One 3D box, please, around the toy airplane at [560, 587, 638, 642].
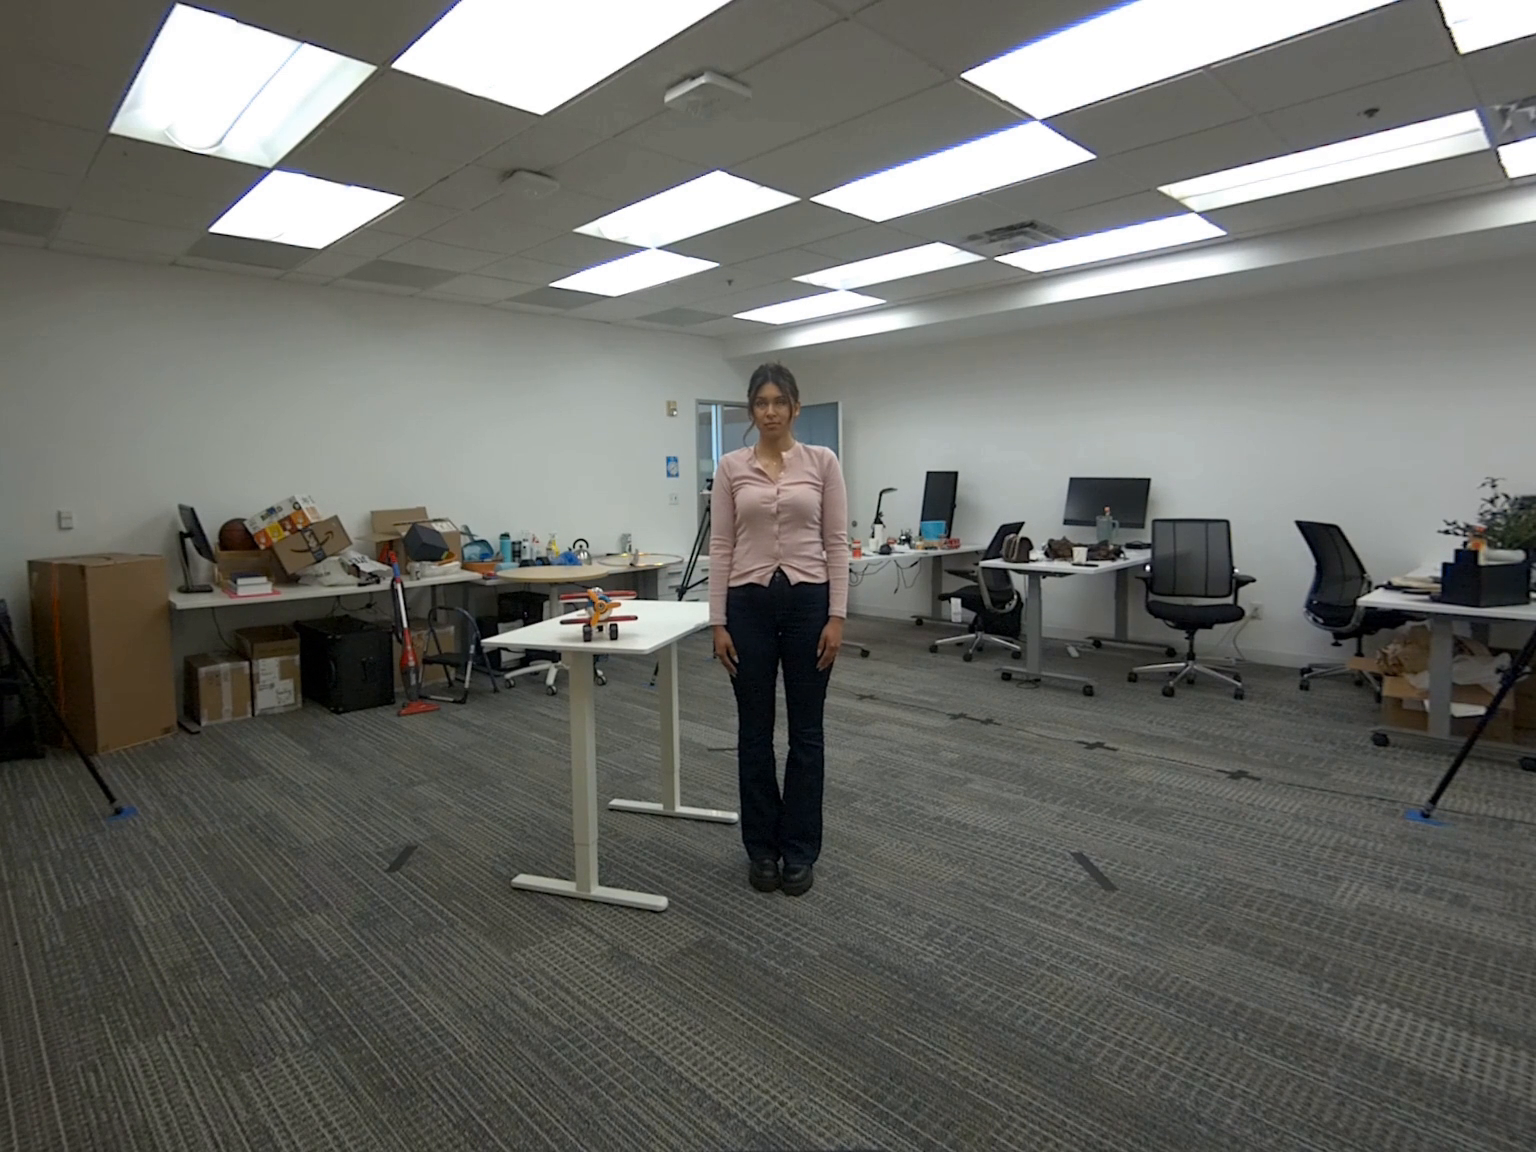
[{"bbox_3d":[-0.582,0.124,2.842,0.245,0.155,0.267,-8,10,-41],"label":"toy airplane"}]
